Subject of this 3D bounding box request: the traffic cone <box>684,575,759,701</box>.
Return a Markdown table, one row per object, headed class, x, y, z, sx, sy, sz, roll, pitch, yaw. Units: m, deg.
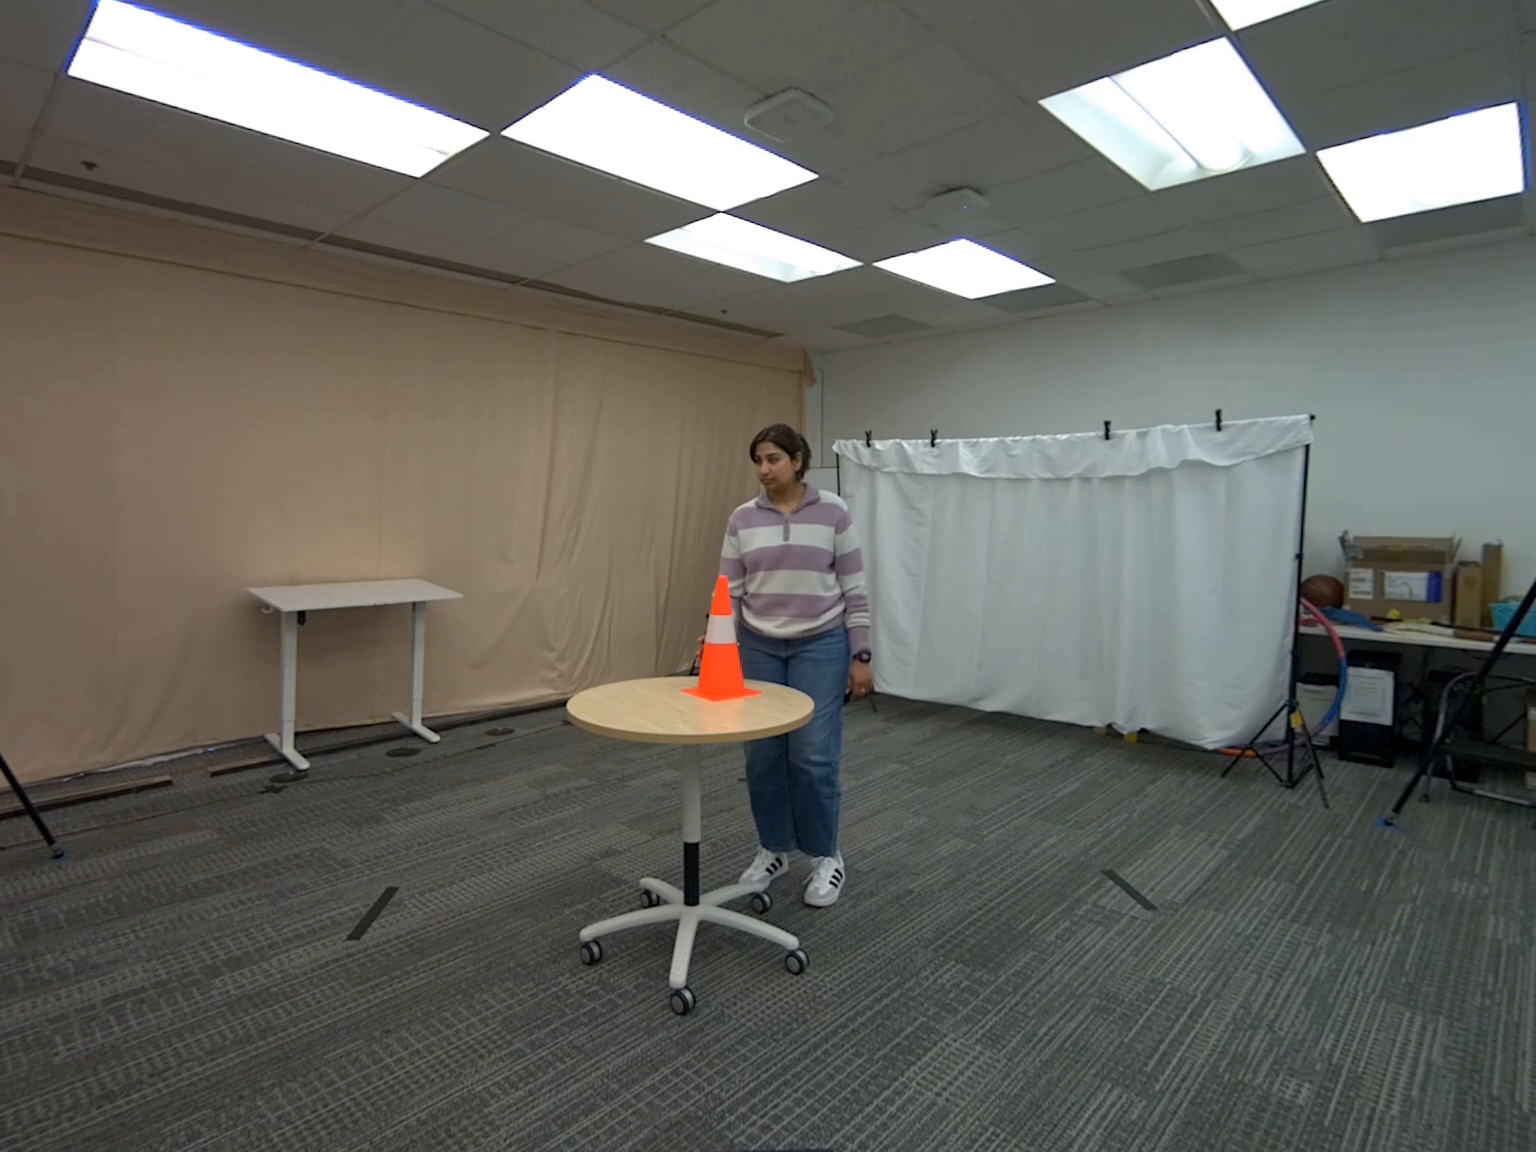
| class | x | y | z | sx | sy | sz | roll | pitch | yaw |
| --- | --- | --- | --- | --- | --- | --- | --- | --- | --- |
| traffic cone | -0.159 | 0.196 | 2.741 | 0.209 | 0.383 | 0.199 | 1 | 3 | 35 |
